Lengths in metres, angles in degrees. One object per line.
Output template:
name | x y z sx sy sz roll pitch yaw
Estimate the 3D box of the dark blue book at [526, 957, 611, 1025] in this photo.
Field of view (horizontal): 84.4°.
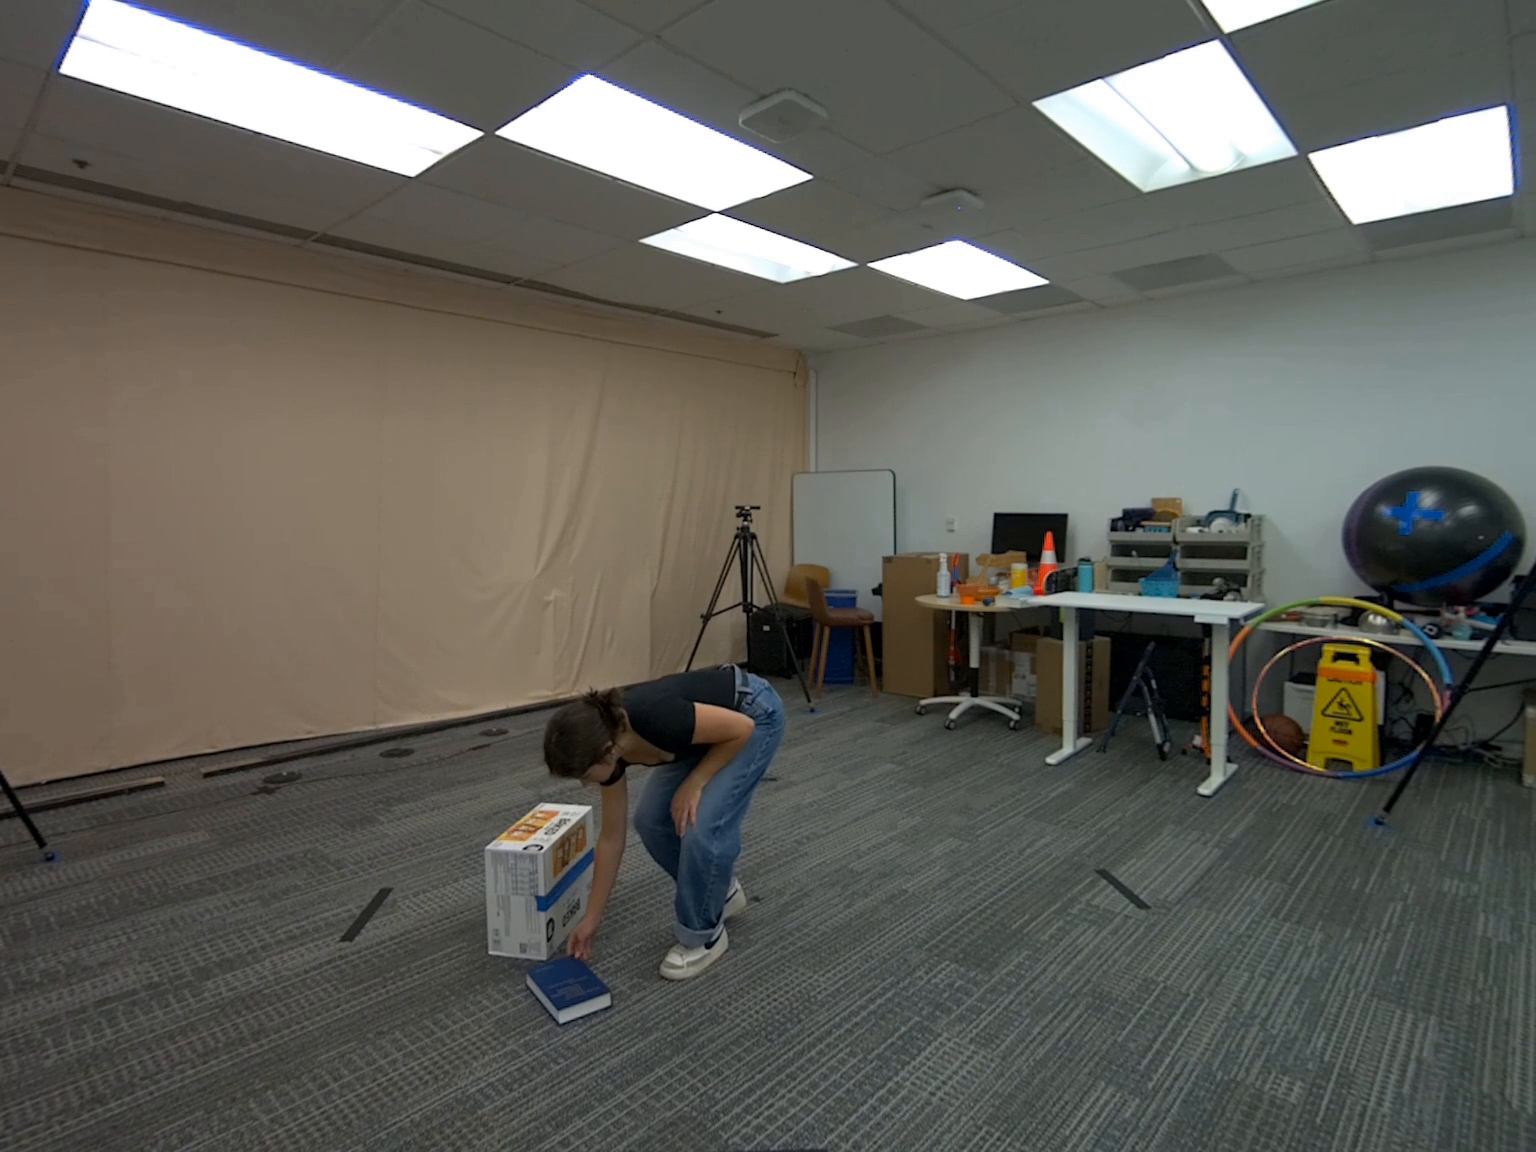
dark blue book | -0.572 1.179 2.390 0.158 0.045 0.253 -3 5 -36
